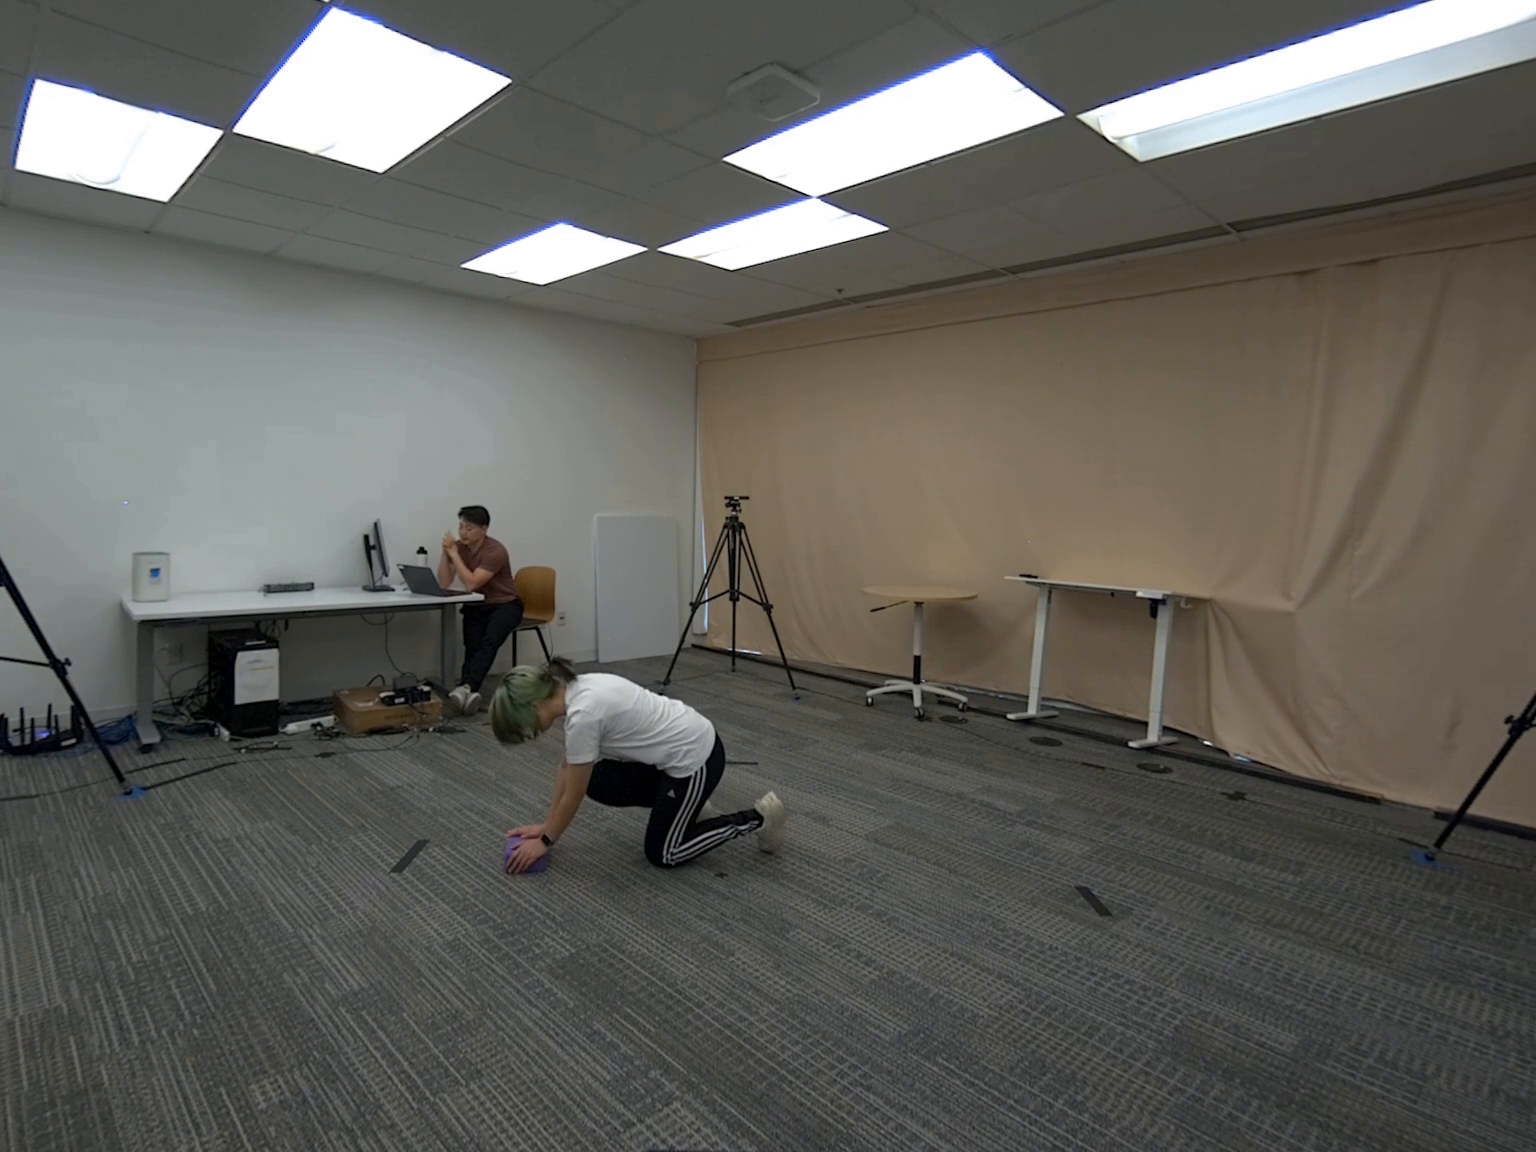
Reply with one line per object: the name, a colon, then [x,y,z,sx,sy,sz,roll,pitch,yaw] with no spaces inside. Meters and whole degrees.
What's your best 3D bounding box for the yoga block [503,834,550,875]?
yoga block: [-0.912,1.033,3.196,0.148,0.076,0.232,-2,7,-11]
